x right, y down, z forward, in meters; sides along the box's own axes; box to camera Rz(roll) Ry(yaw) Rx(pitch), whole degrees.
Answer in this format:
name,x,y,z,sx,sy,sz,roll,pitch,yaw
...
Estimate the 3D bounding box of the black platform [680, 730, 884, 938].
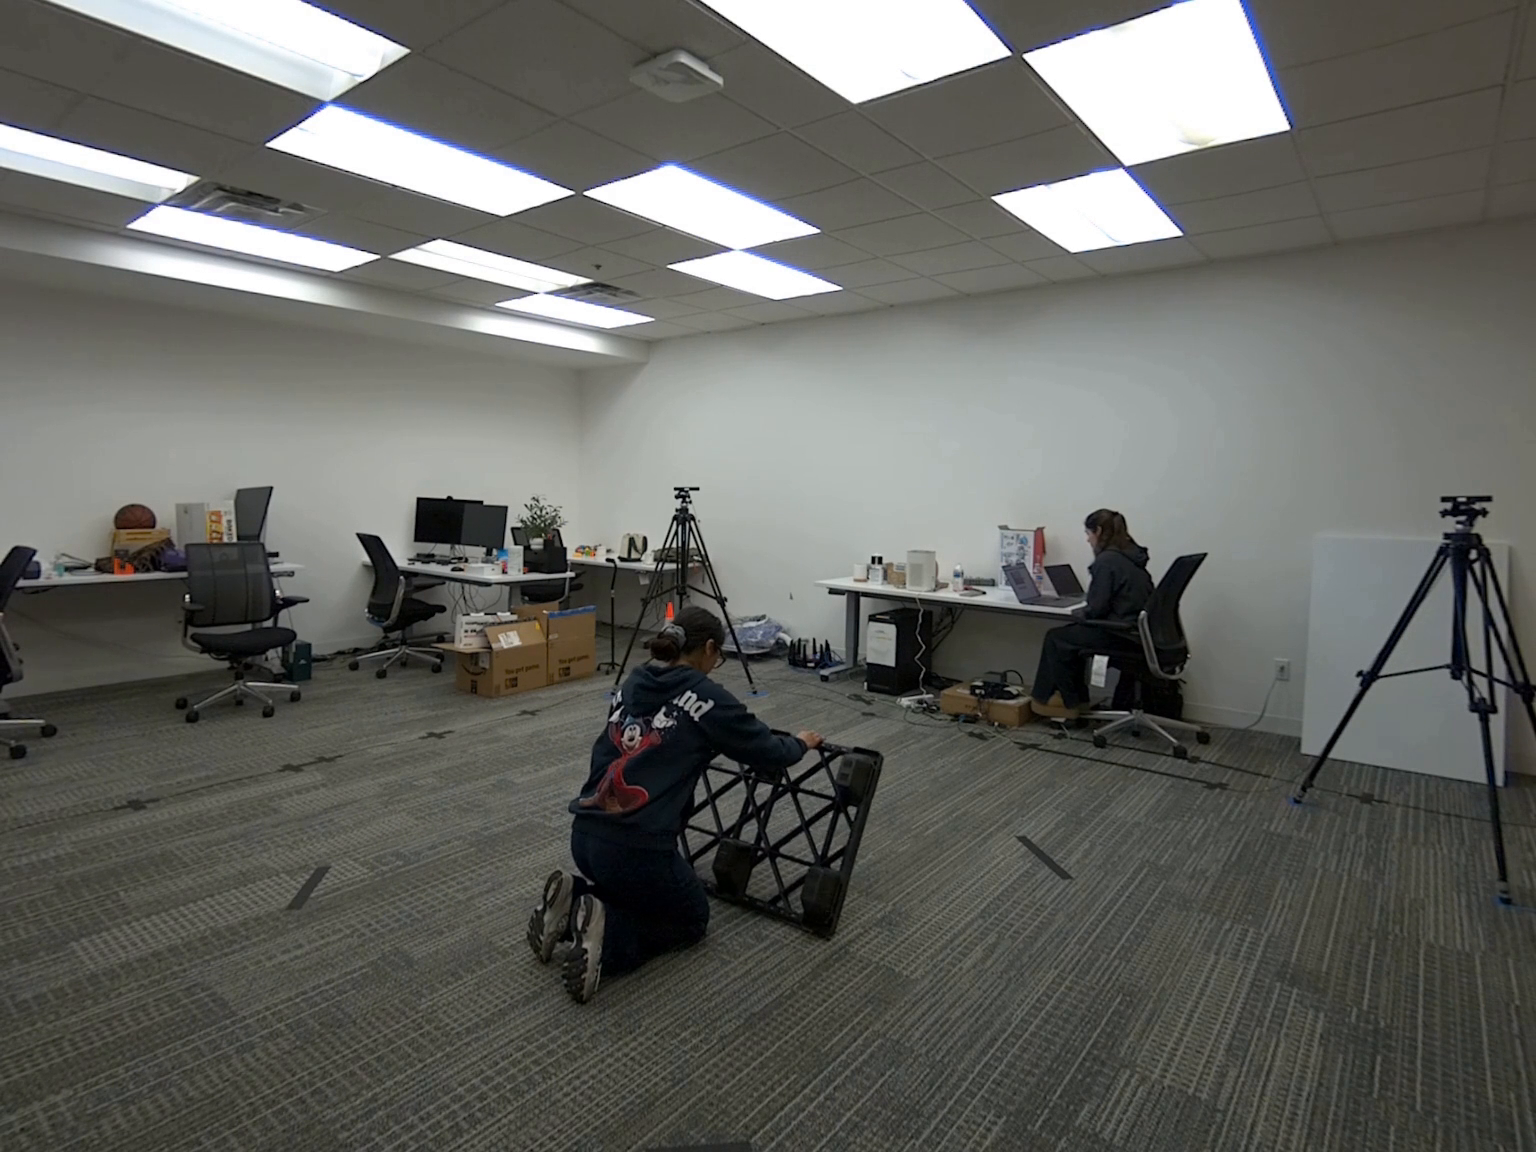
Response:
name,x,y,z,sx,sy,sz,roll,pitch,yaw
black platform,-0.067,0.806,2.953,0.831,0.612,0.137,4,-30,36
